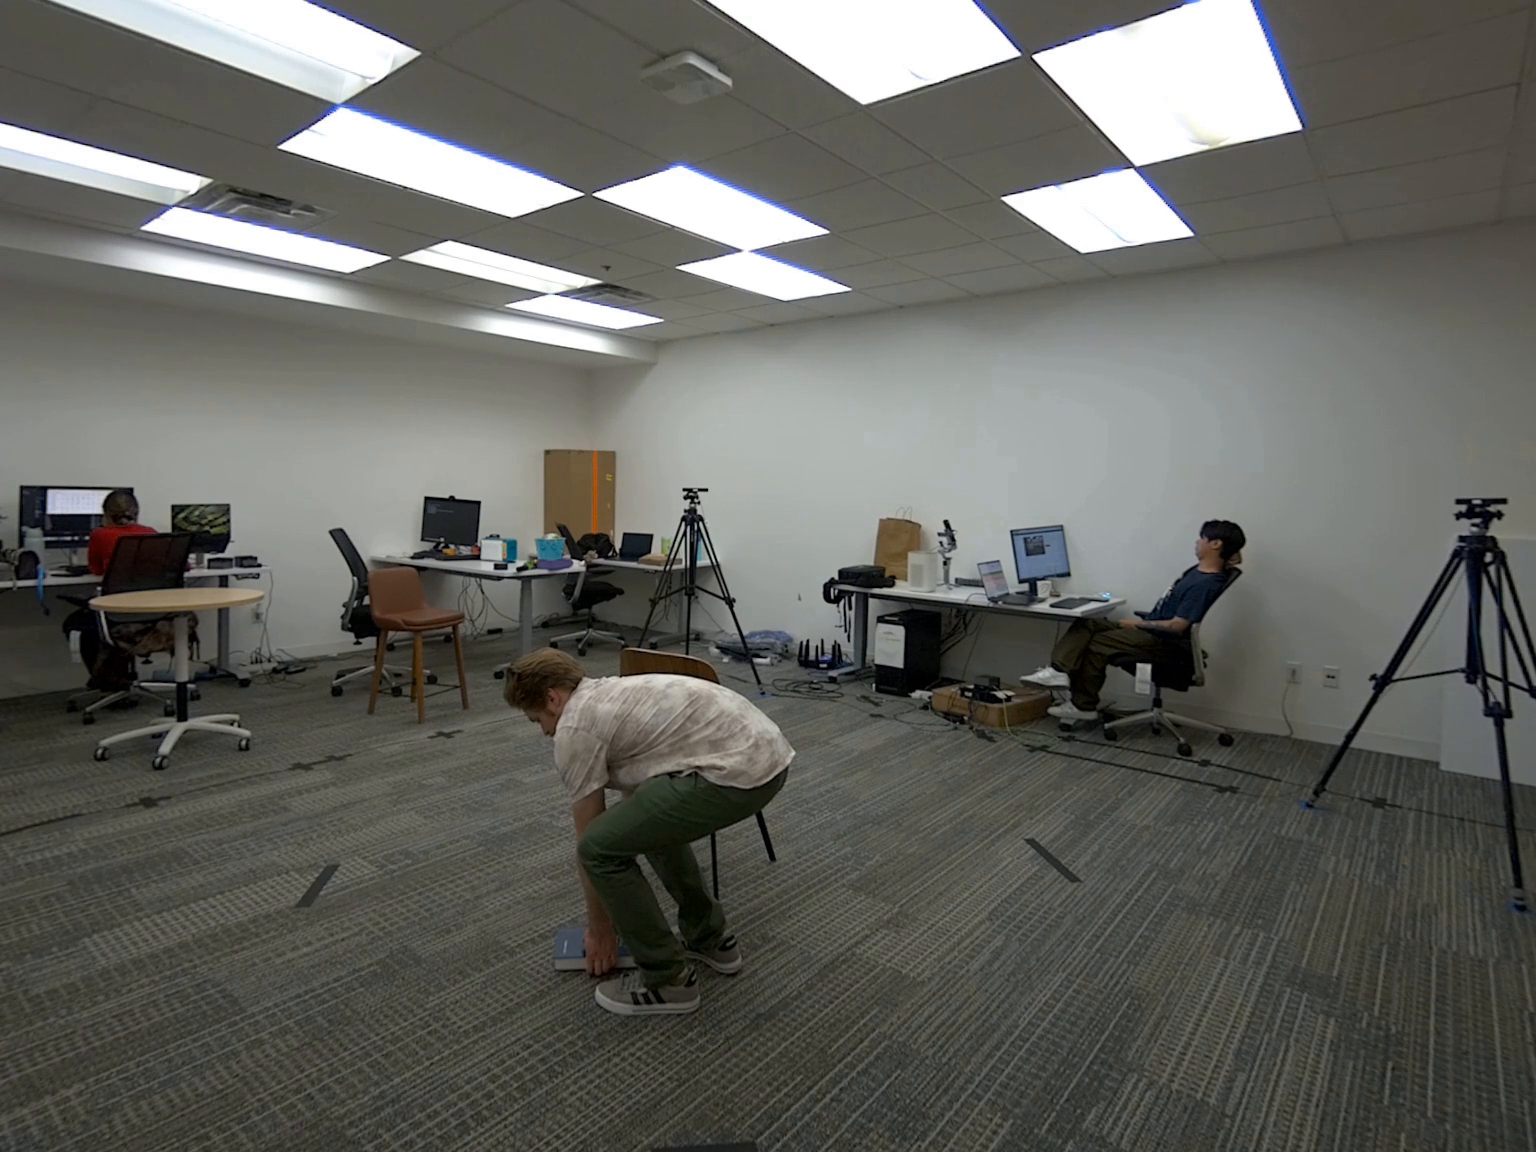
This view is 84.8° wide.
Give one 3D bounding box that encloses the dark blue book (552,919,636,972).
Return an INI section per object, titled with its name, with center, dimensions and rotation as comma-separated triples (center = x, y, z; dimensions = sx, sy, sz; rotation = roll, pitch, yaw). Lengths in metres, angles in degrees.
[dark blue book]
center = -0.516, 1.098, 2.512
dimensions = 0.244, 0.045, 0.165
rotation = 1, 9, -5
